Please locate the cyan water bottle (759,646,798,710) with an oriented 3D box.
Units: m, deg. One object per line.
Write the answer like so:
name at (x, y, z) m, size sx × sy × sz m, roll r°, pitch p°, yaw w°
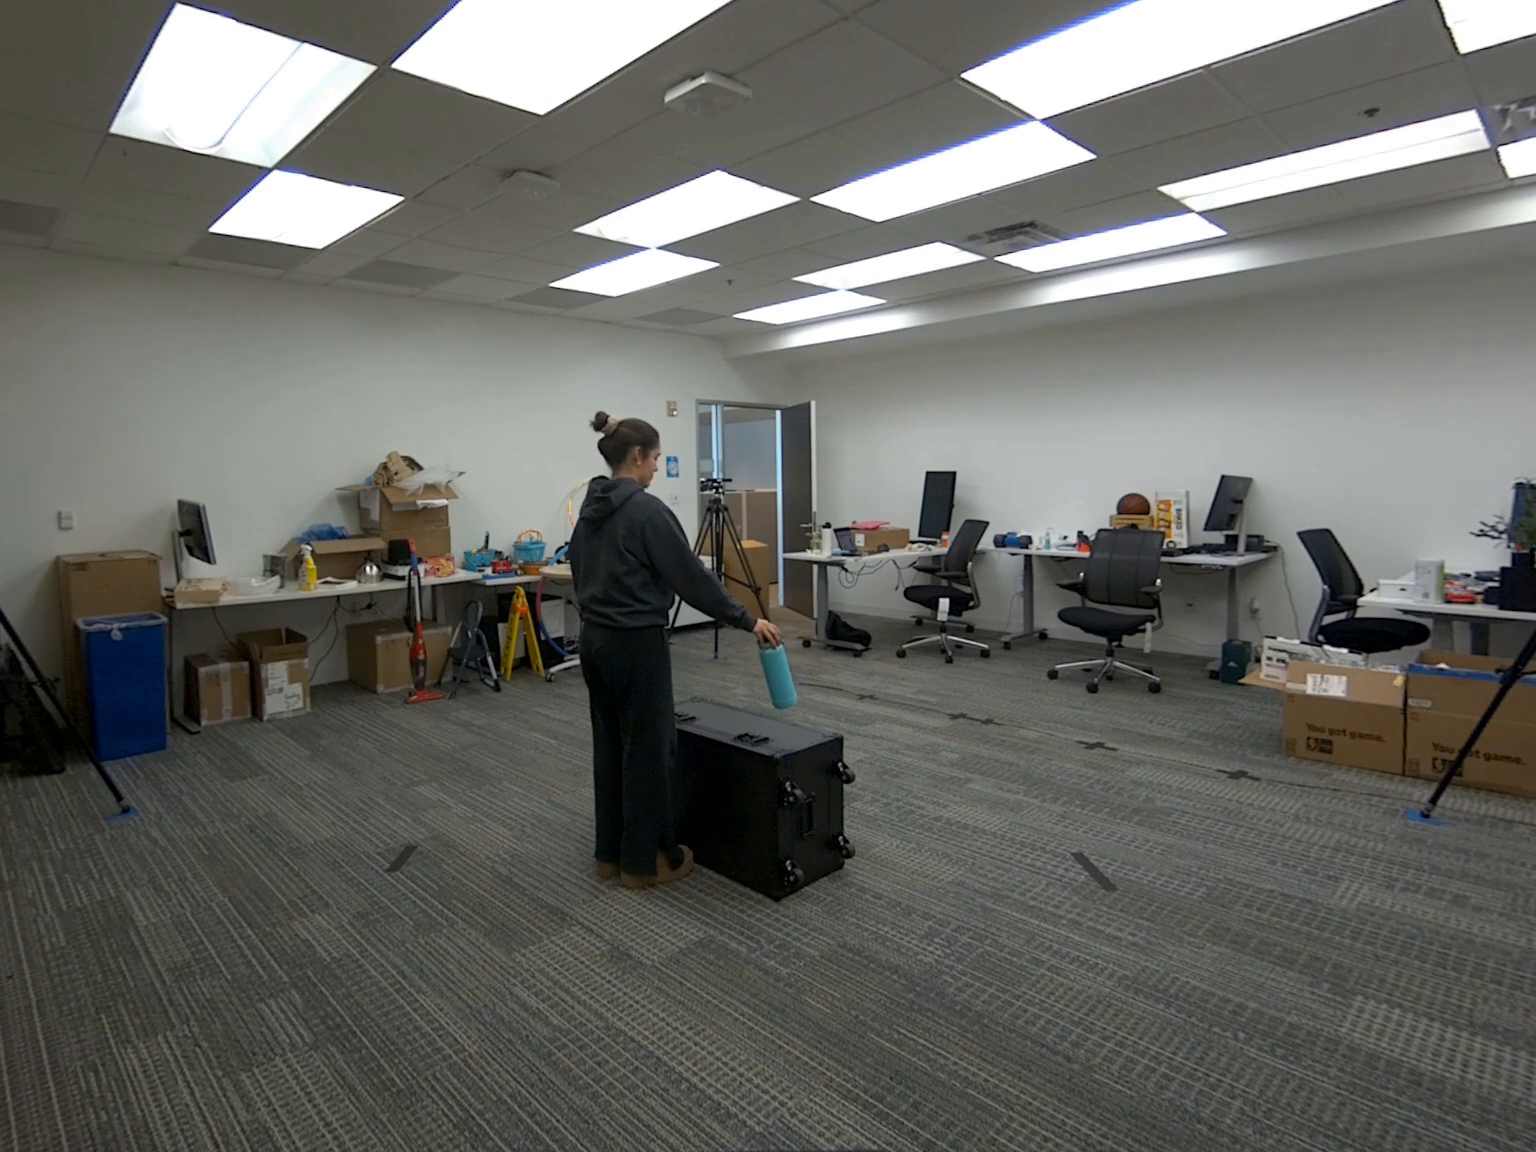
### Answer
cyan water bottle at (0.014, 0.321, 2.951) m, size 0.092 × 0.279 × 0.093 m, roll -14°, pitch 12°, yaw 2°
